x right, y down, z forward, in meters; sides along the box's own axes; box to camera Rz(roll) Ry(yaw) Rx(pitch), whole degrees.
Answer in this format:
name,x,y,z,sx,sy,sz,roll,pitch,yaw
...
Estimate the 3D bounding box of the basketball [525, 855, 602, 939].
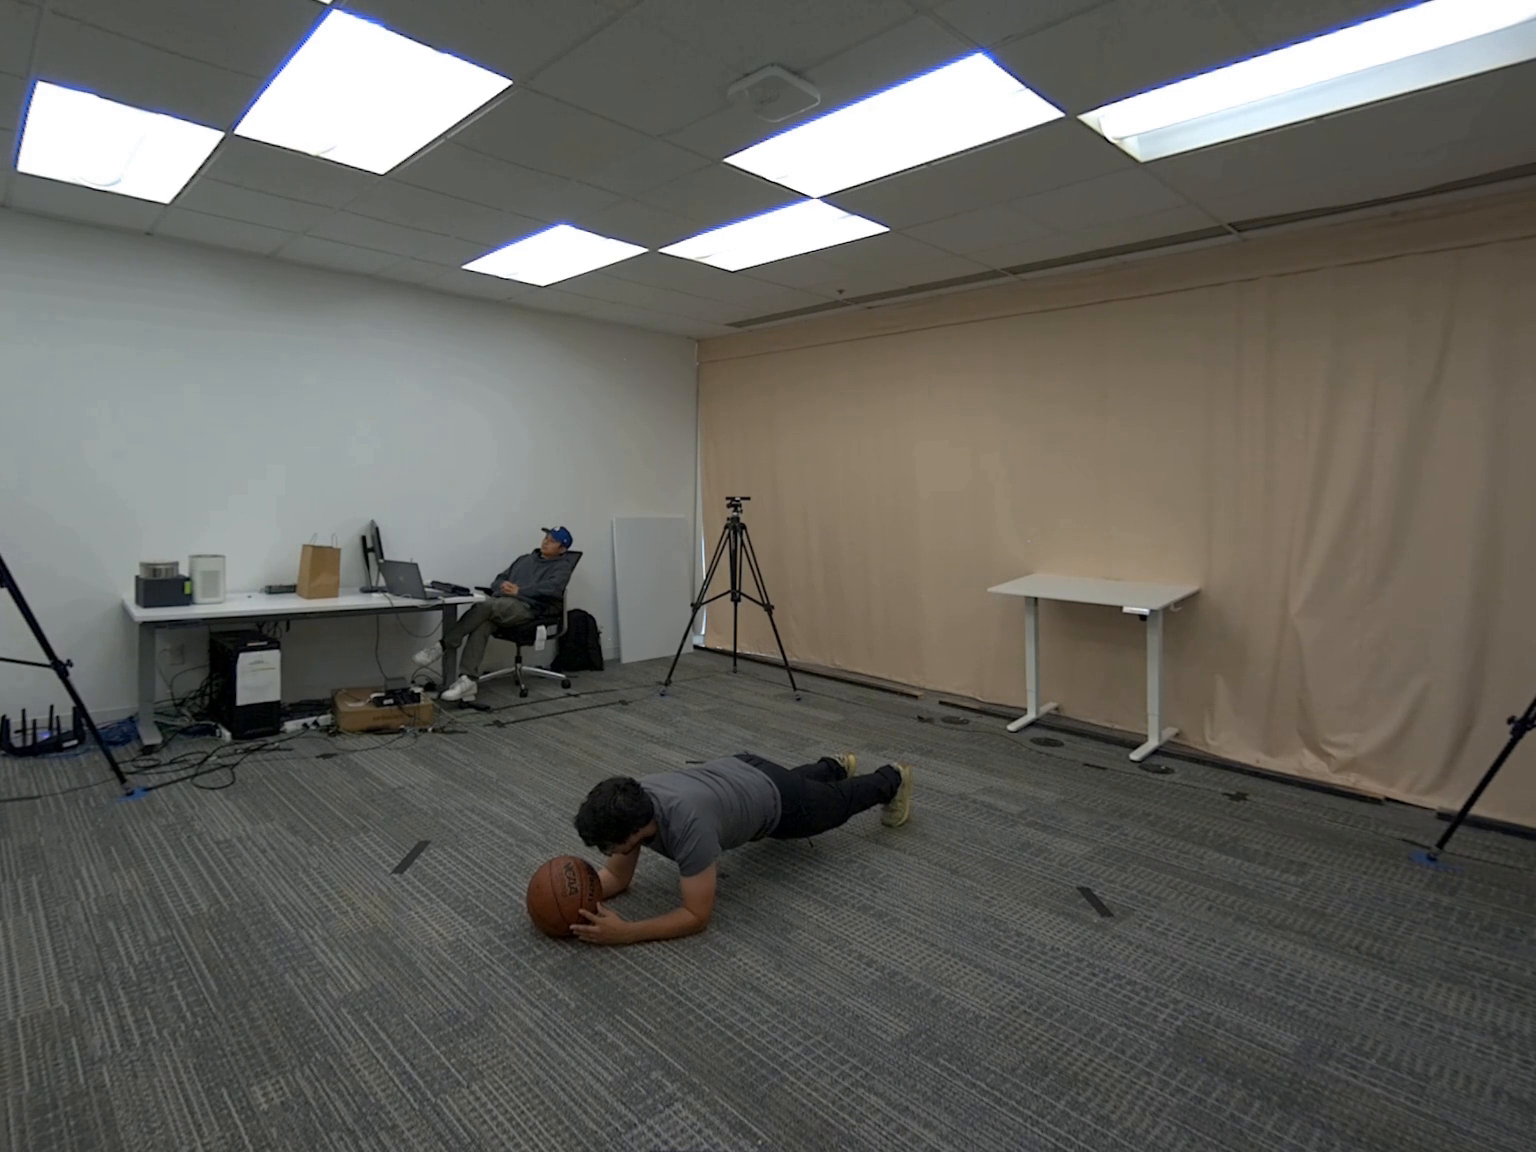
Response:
name,x,y,z,sx,sy,sz,roll,pitch,yaw
basketball,-0.642,1.007,2.680,0.236,0.235,0.237,1,4,-1
